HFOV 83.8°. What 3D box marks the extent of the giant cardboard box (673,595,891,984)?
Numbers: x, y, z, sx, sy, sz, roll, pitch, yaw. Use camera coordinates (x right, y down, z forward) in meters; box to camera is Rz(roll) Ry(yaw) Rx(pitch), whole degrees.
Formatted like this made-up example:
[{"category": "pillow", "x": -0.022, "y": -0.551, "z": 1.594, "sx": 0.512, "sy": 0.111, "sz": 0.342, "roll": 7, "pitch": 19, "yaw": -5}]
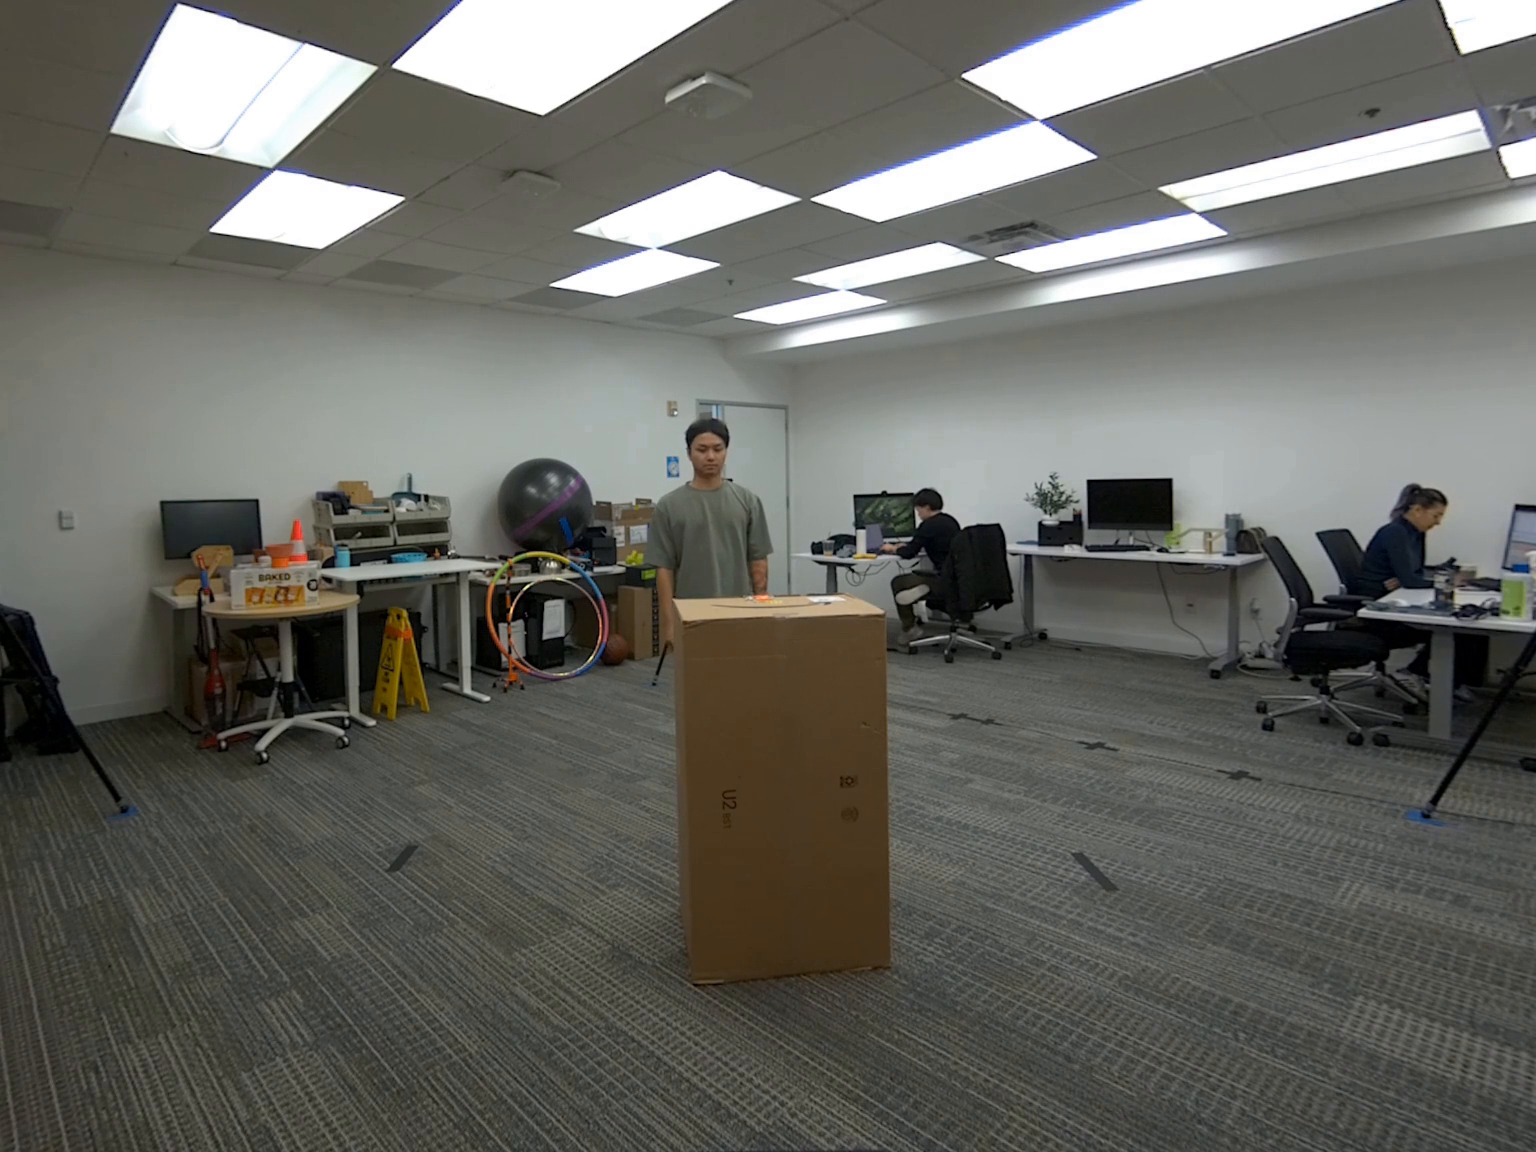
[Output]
[{"category": "giant cardboard box", "x": 0.022, "y": 0.599, "z": 2.572, "sx": 0.573, "sy": 1.021, "sz": 0.431, "roll": -1, "pitch": 5, "yaw": -8}]
